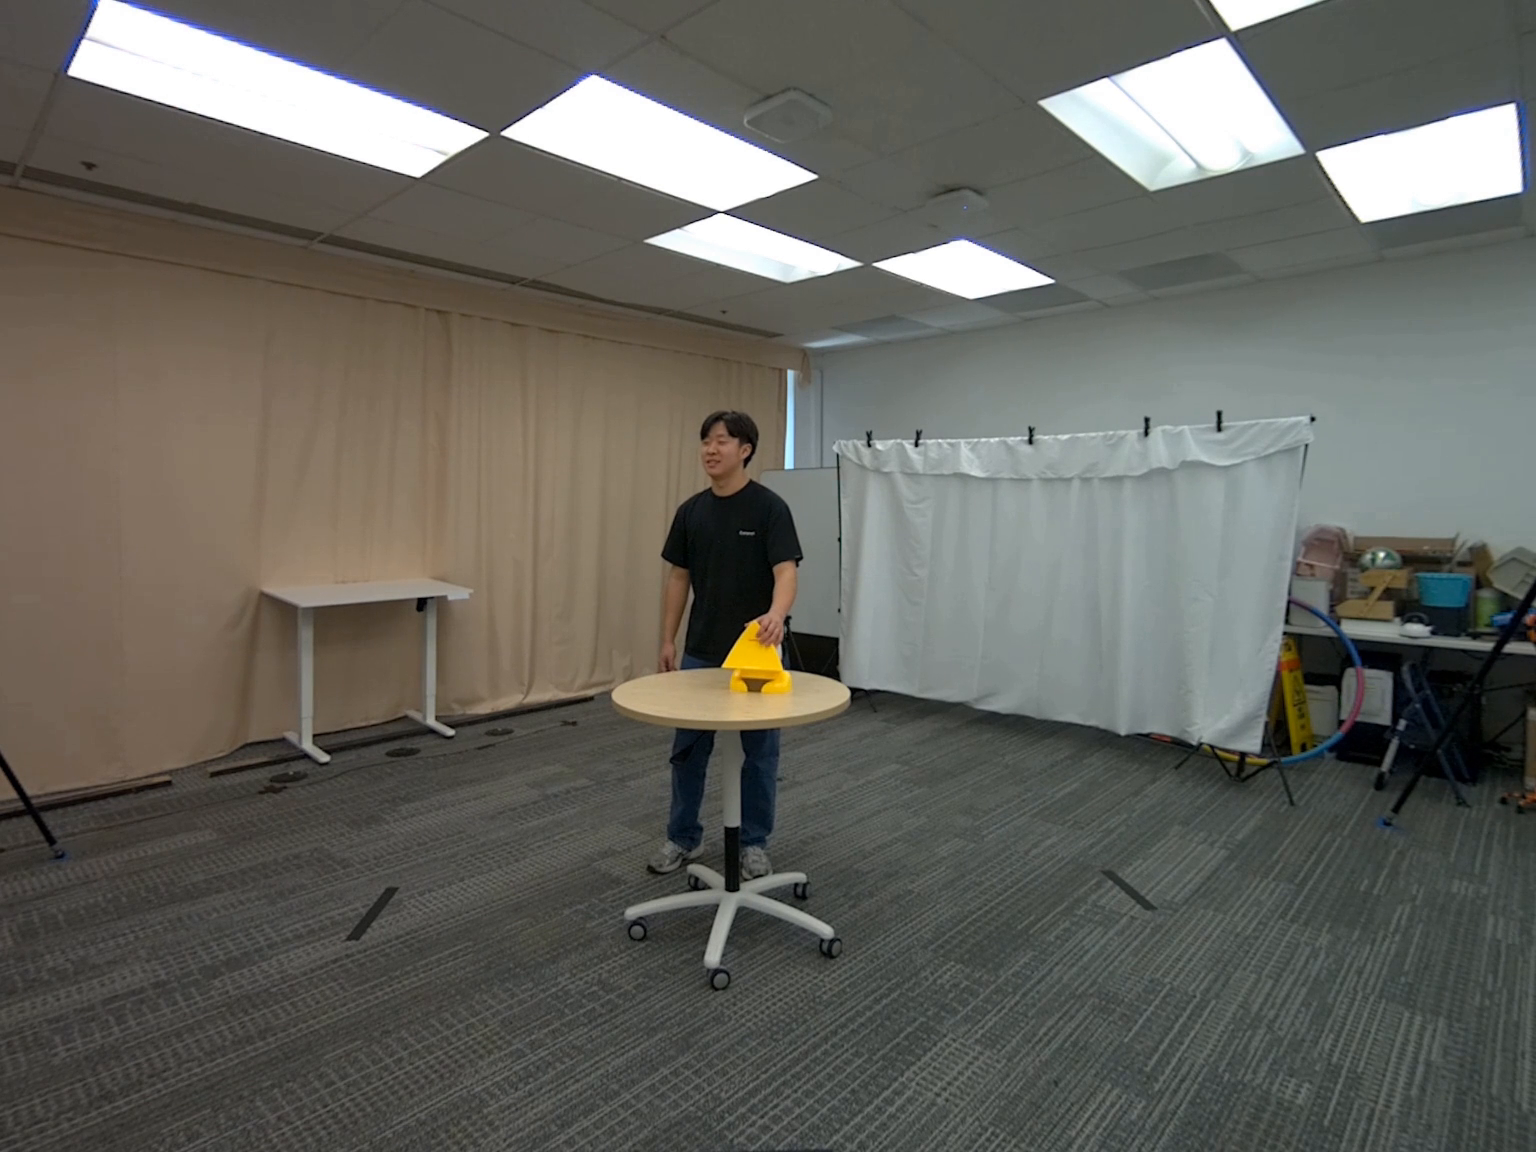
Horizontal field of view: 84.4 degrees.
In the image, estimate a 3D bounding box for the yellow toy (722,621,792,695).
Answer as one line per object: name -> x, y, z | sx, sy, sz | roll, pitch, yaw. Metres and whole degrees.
yellow toy -> -0.032, 0.252, 2.753 | 0.209, 0.230, 0.190 | 1, 4, 18
